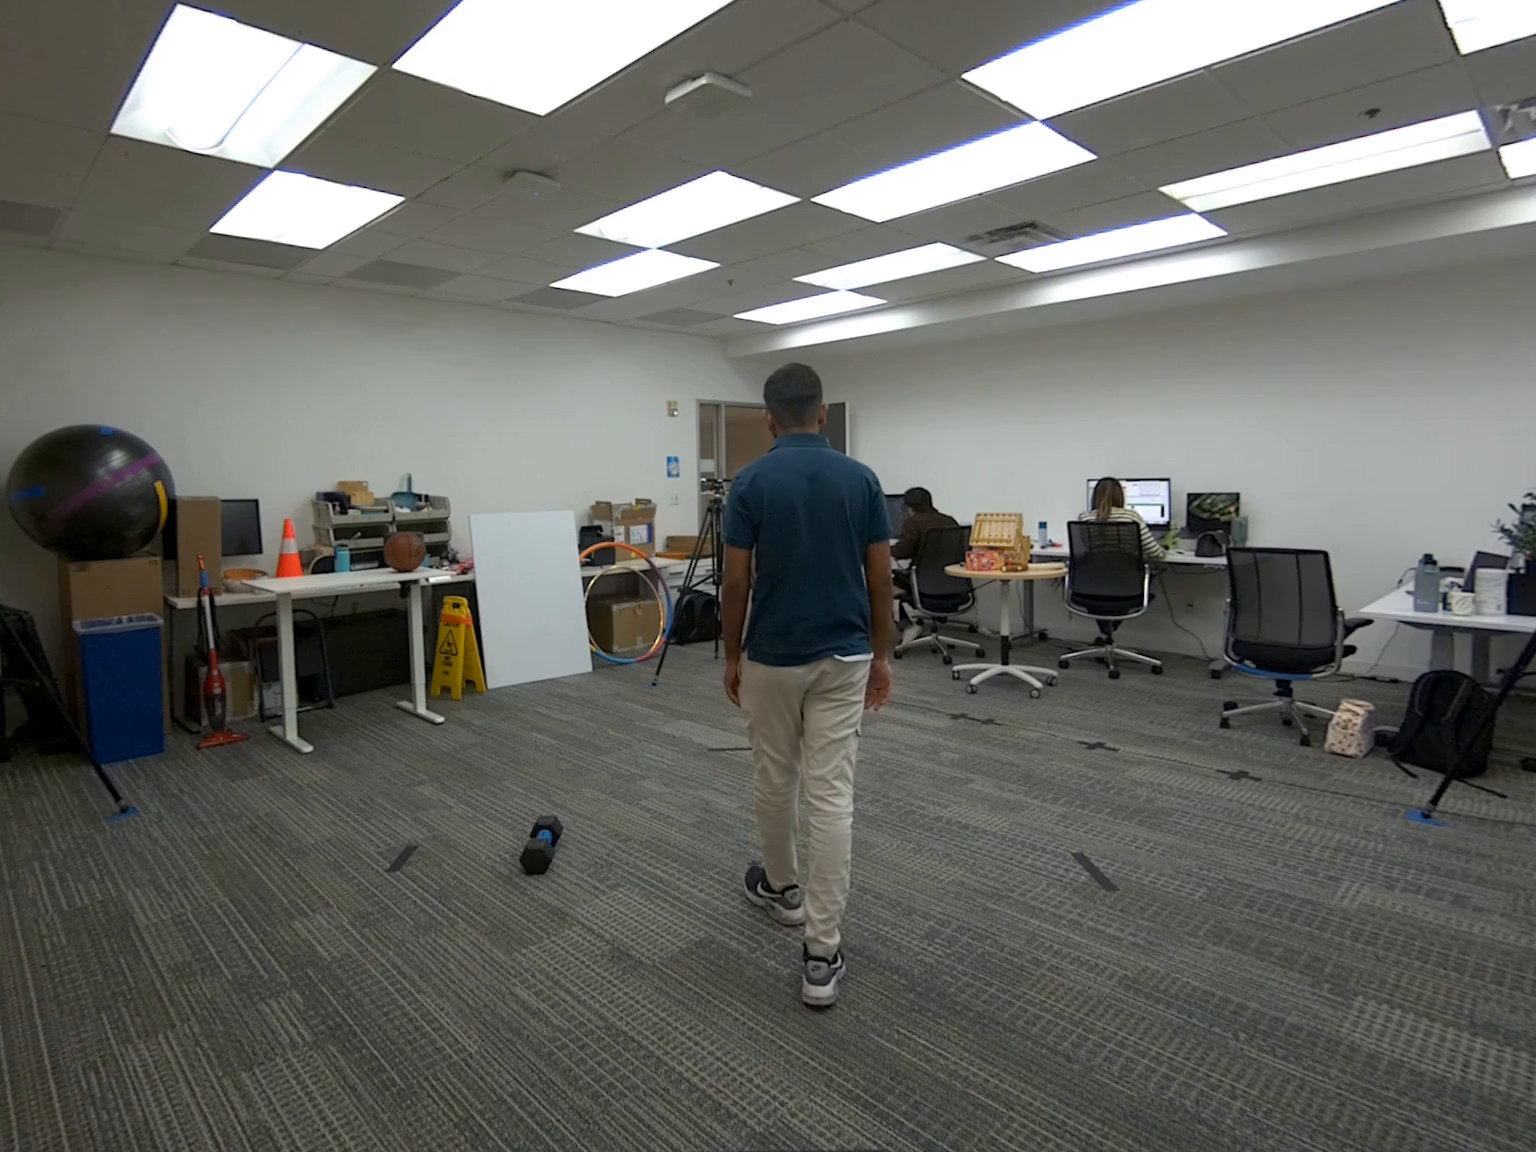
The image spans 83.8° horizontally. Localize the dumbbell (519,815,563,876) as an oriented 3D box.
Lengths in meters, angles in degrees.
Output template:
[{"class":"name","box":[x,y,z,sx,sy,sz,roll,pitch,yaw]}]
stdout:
[{"class":"dumbbell","box":[-0.838,0.999,3.184,0.122,0.108,0.296,-1,6,-5]}]
